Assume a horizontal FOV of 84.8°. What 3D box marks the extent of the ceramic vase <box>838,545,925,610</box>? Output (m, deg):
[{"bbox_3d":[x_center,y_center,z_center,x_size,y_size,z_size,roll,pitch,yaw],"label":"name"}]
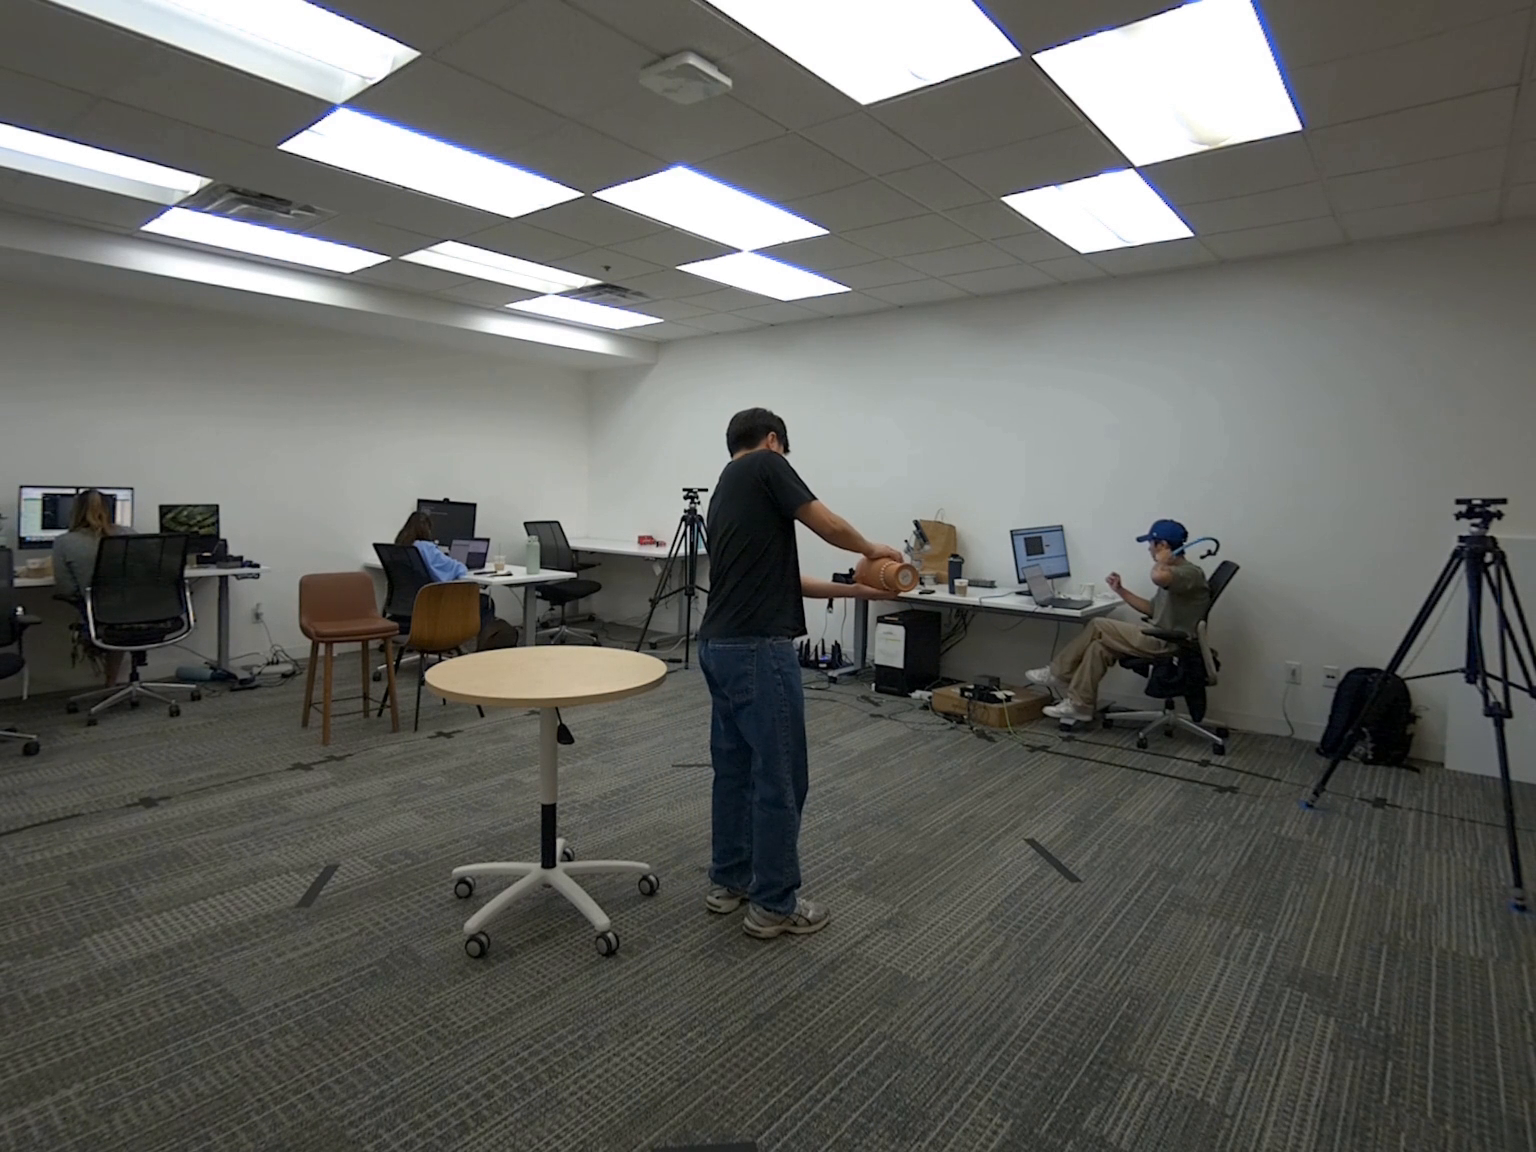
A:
[{"bbox_3d":[0.387,-0.004,2.909,0.131,0.159,0.225,47,-13,-18],"label":"ceramic vase"}]
